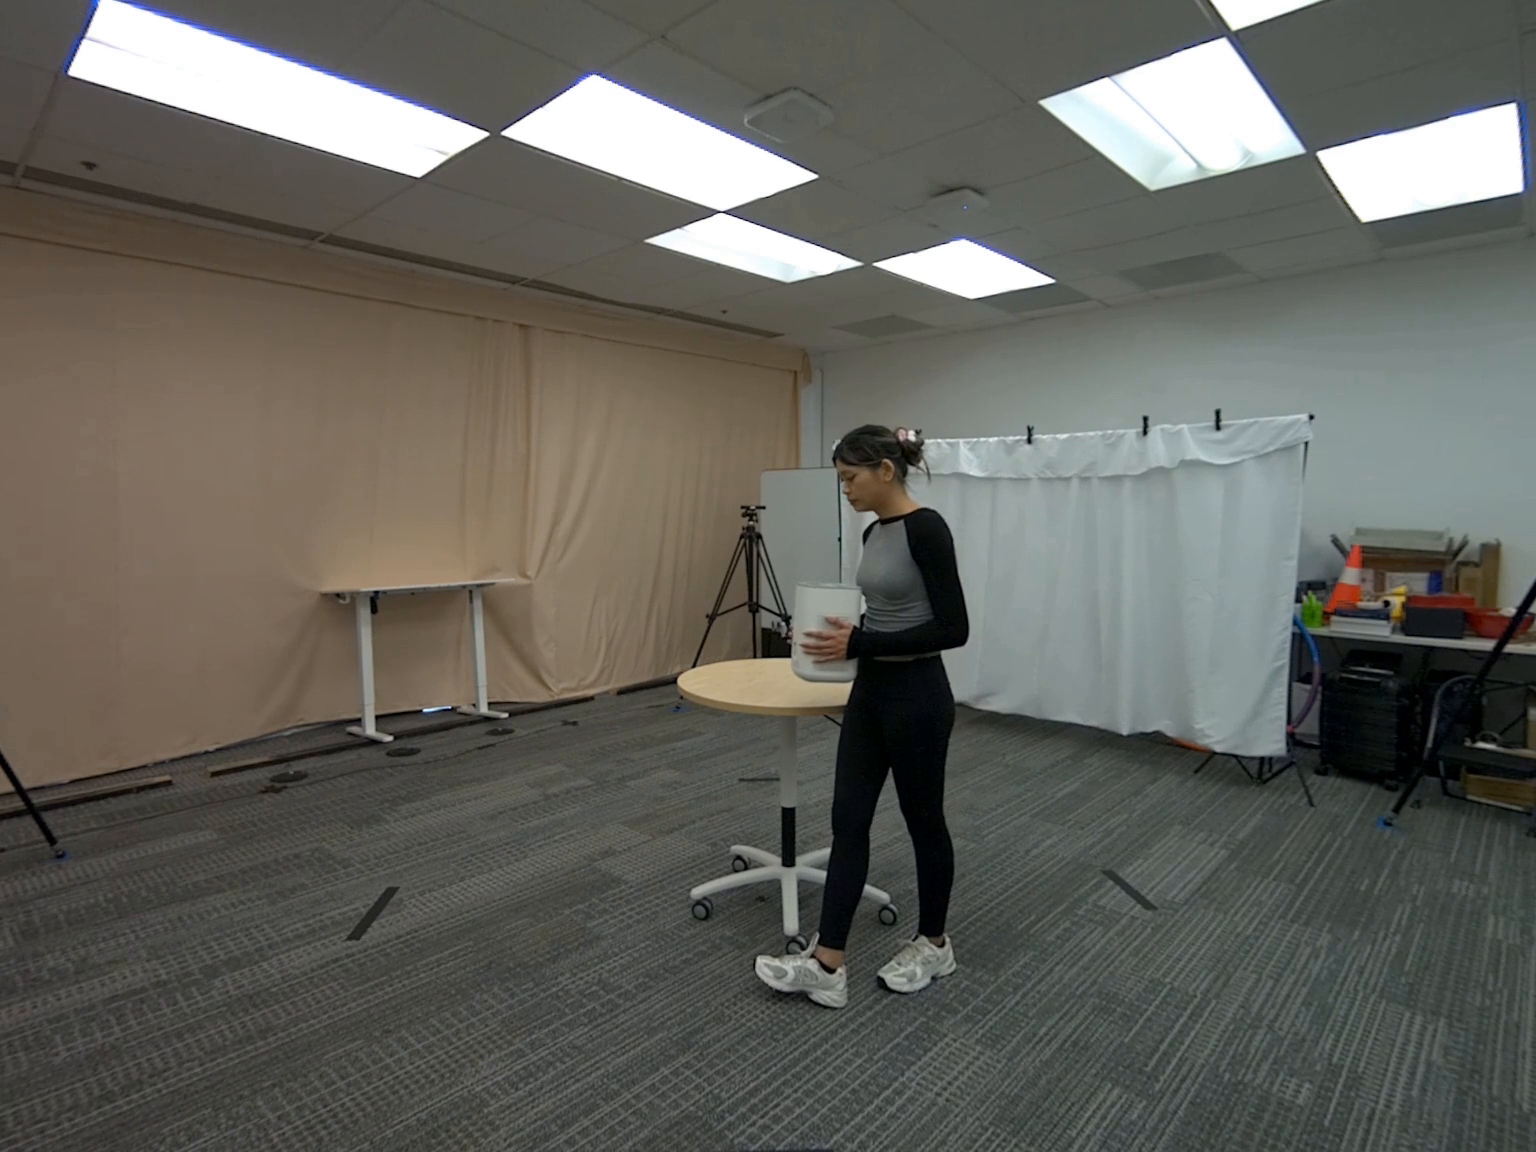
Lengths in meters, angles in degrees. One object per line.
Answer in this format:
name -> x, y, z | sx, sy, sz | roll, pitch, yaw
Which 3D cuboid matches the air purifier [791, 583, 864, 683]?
air purifier -> 0.174, 0.158, 2.357 | 0.170, 0.265, 0.172 | 4, 0, -4
